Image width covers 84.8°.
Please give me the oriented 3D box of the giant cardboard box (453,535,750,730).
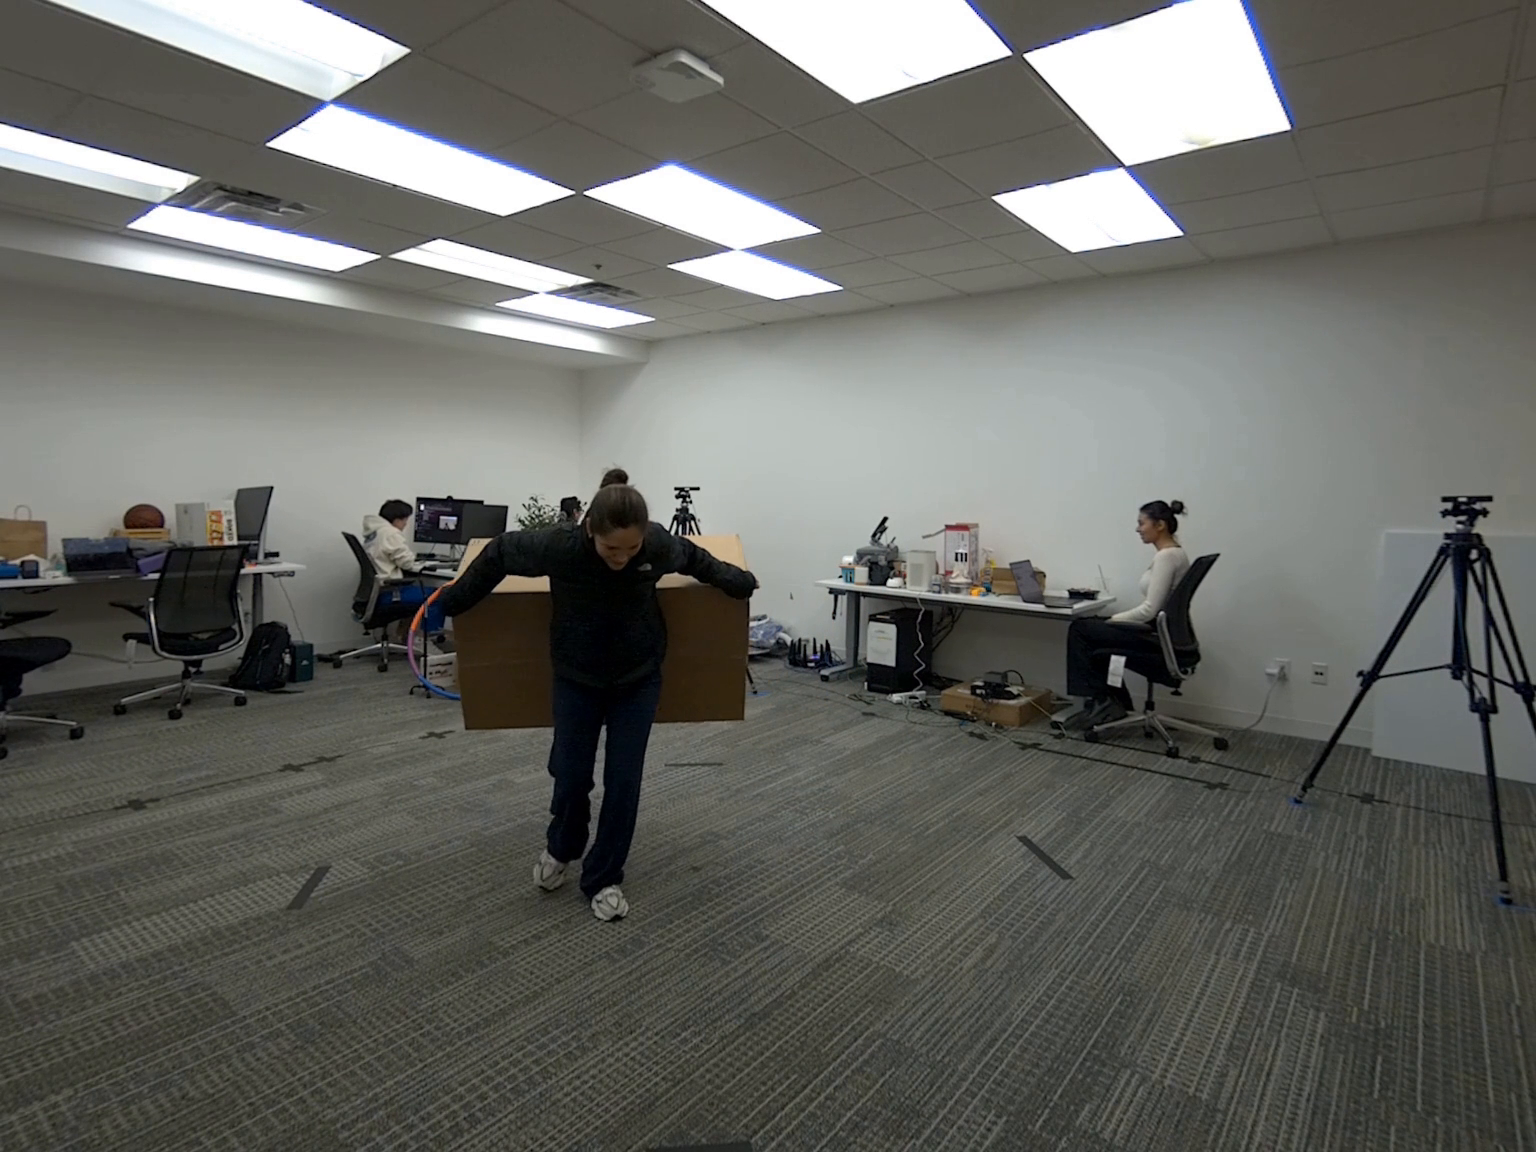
[{"bbox_3d":[-0.596,0.198,3.205,1.022,0.565,0.438,-1,27,-4],"label":"giant cardboard box"}]
